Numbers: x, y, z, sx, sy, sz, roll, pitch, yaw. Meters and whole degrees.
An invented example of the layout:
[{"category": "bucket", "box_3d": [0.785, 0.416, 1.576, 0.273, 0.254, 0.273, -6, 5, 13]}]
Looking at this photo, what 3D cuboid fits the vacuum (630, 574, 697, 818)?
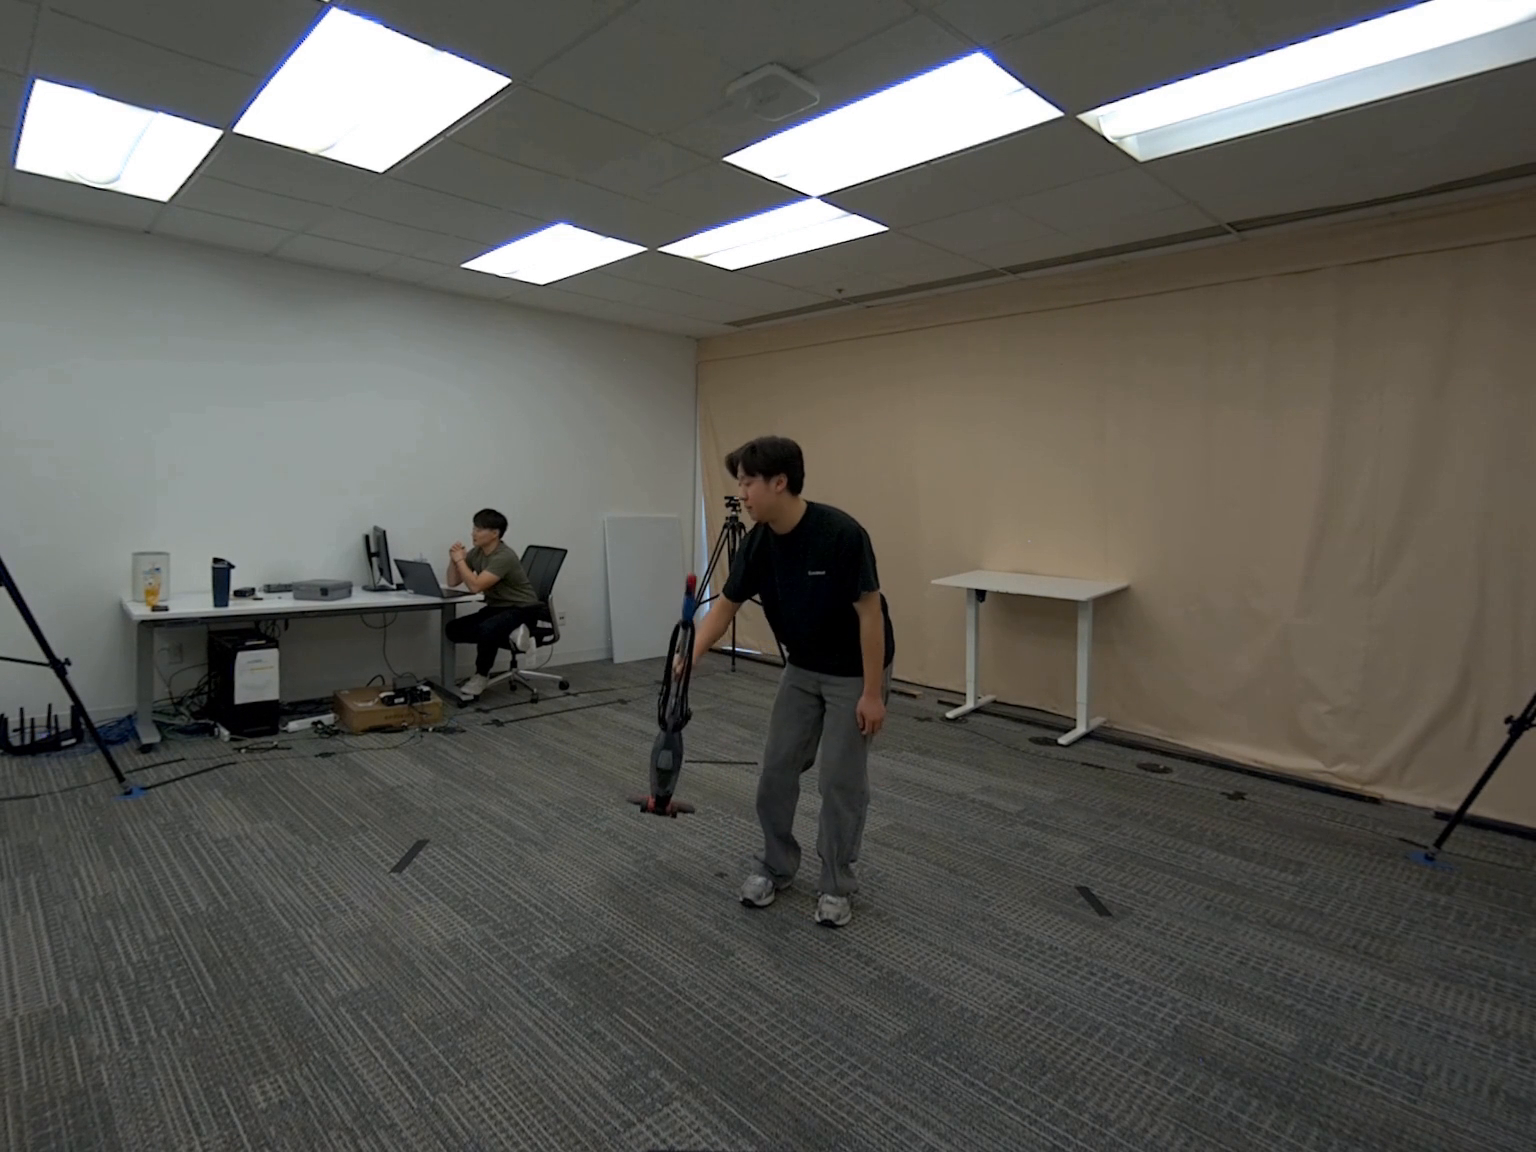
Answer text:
[{"category": "vacuum", "box_3d": [-0.311, 0.429, 2.783, 0.253, 1.033, 0.146, 13, 34, 2]}]
